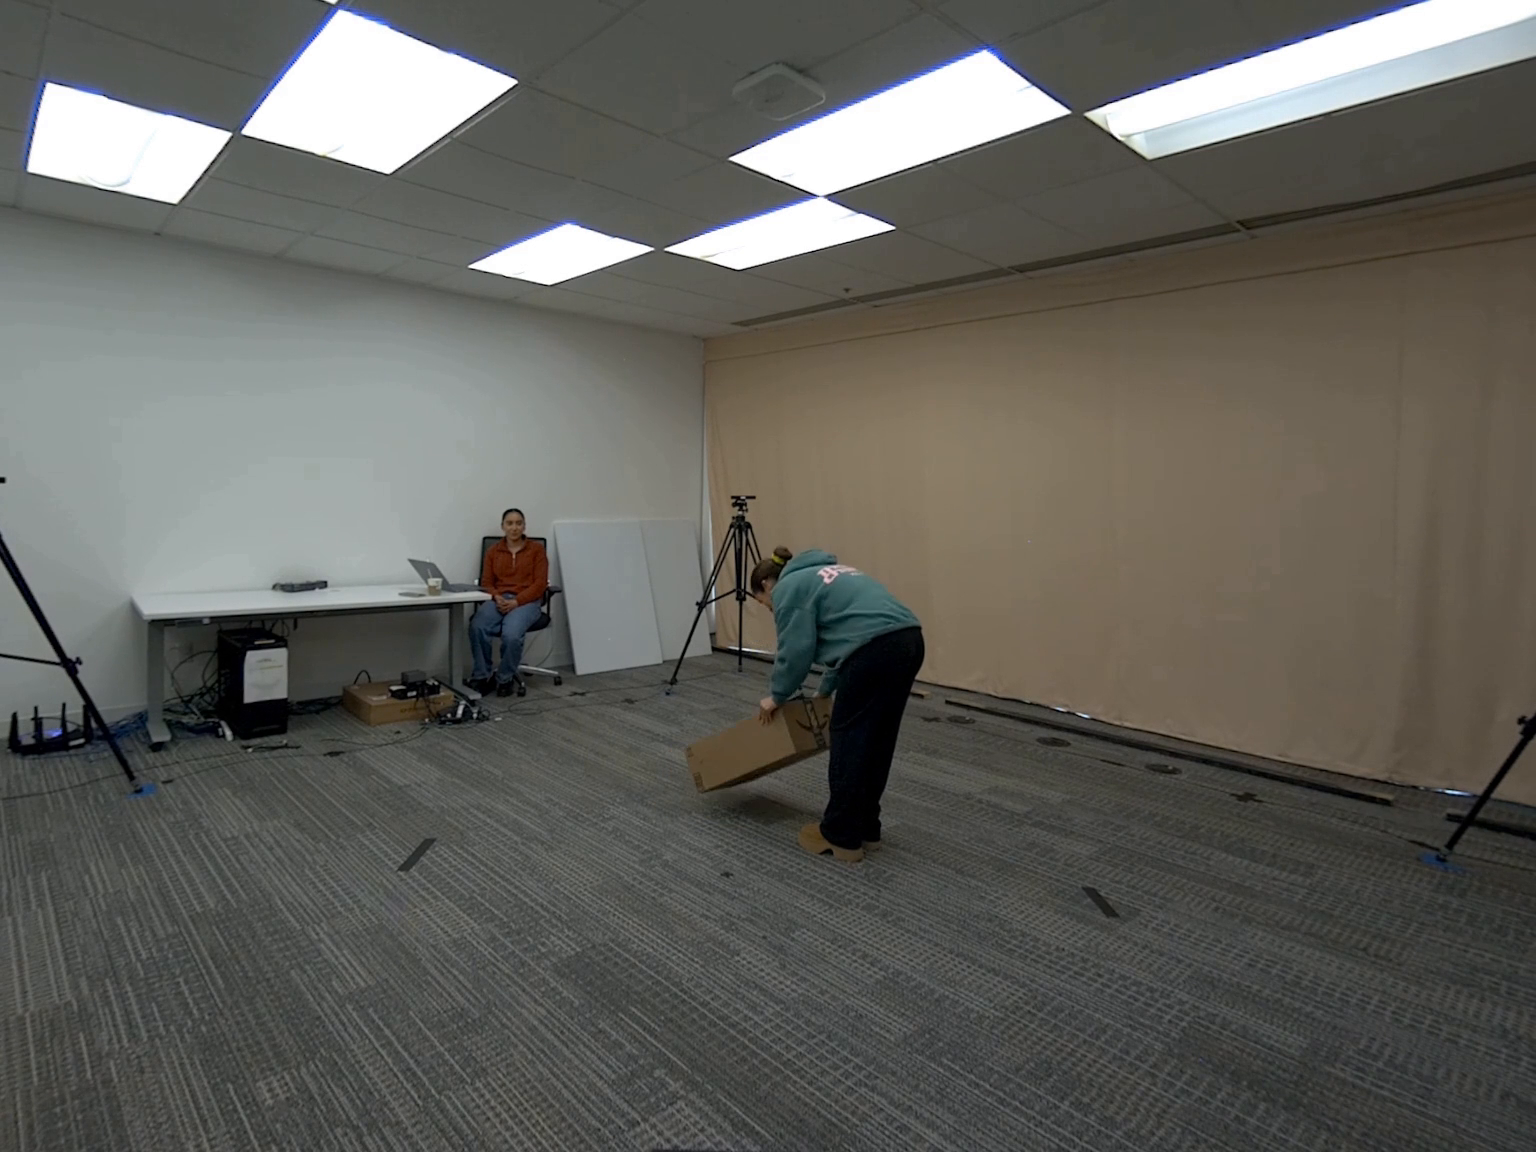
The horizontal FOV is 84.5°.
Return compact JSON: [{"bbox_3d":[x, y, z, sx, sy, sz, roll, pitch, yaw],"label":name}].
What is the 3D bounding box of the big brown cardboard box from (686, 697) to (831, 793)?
[{"bbox_3d":[-0.032,0.727,3.729,0.594,0.237,0.407,-29,-20,31],"label":"big brown cardboard box"}]
